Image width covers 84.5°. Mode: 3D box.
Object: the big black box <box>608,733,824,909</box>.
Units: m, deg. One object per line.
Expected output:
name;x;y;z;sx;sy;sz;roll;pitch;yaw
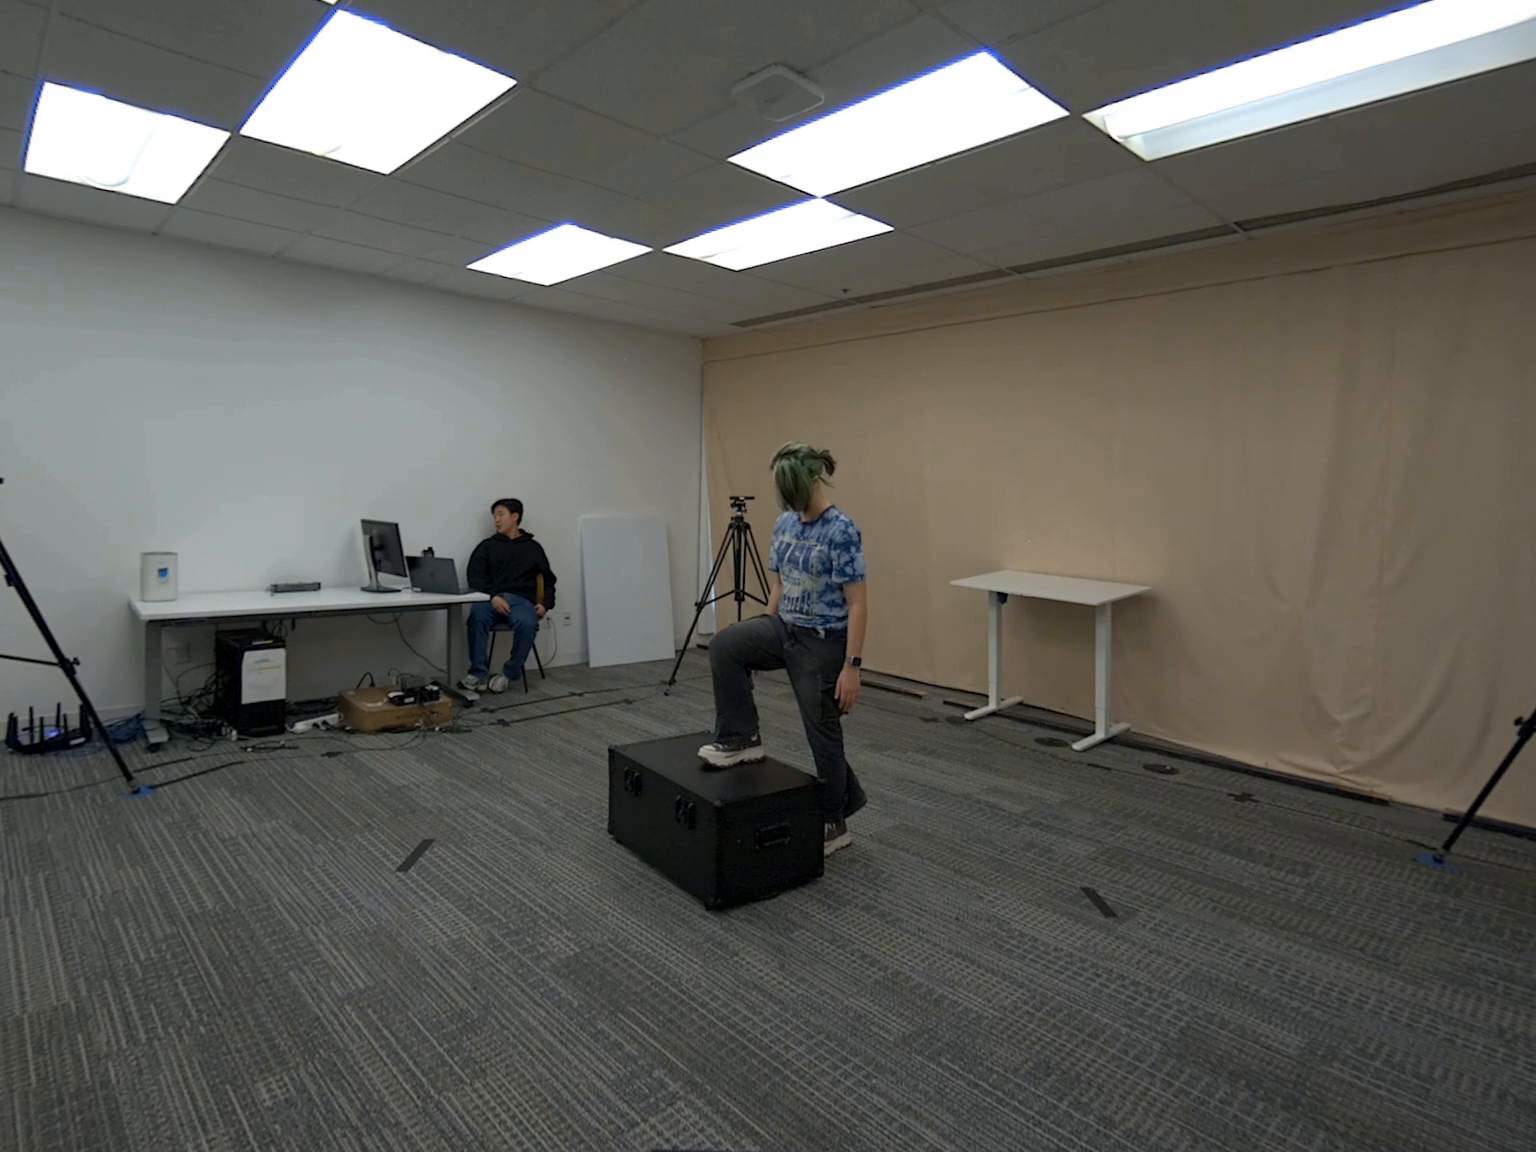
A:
big black box;-0.243;0.898;3.254;0.510;0.395;0.883;-2;6;-37
